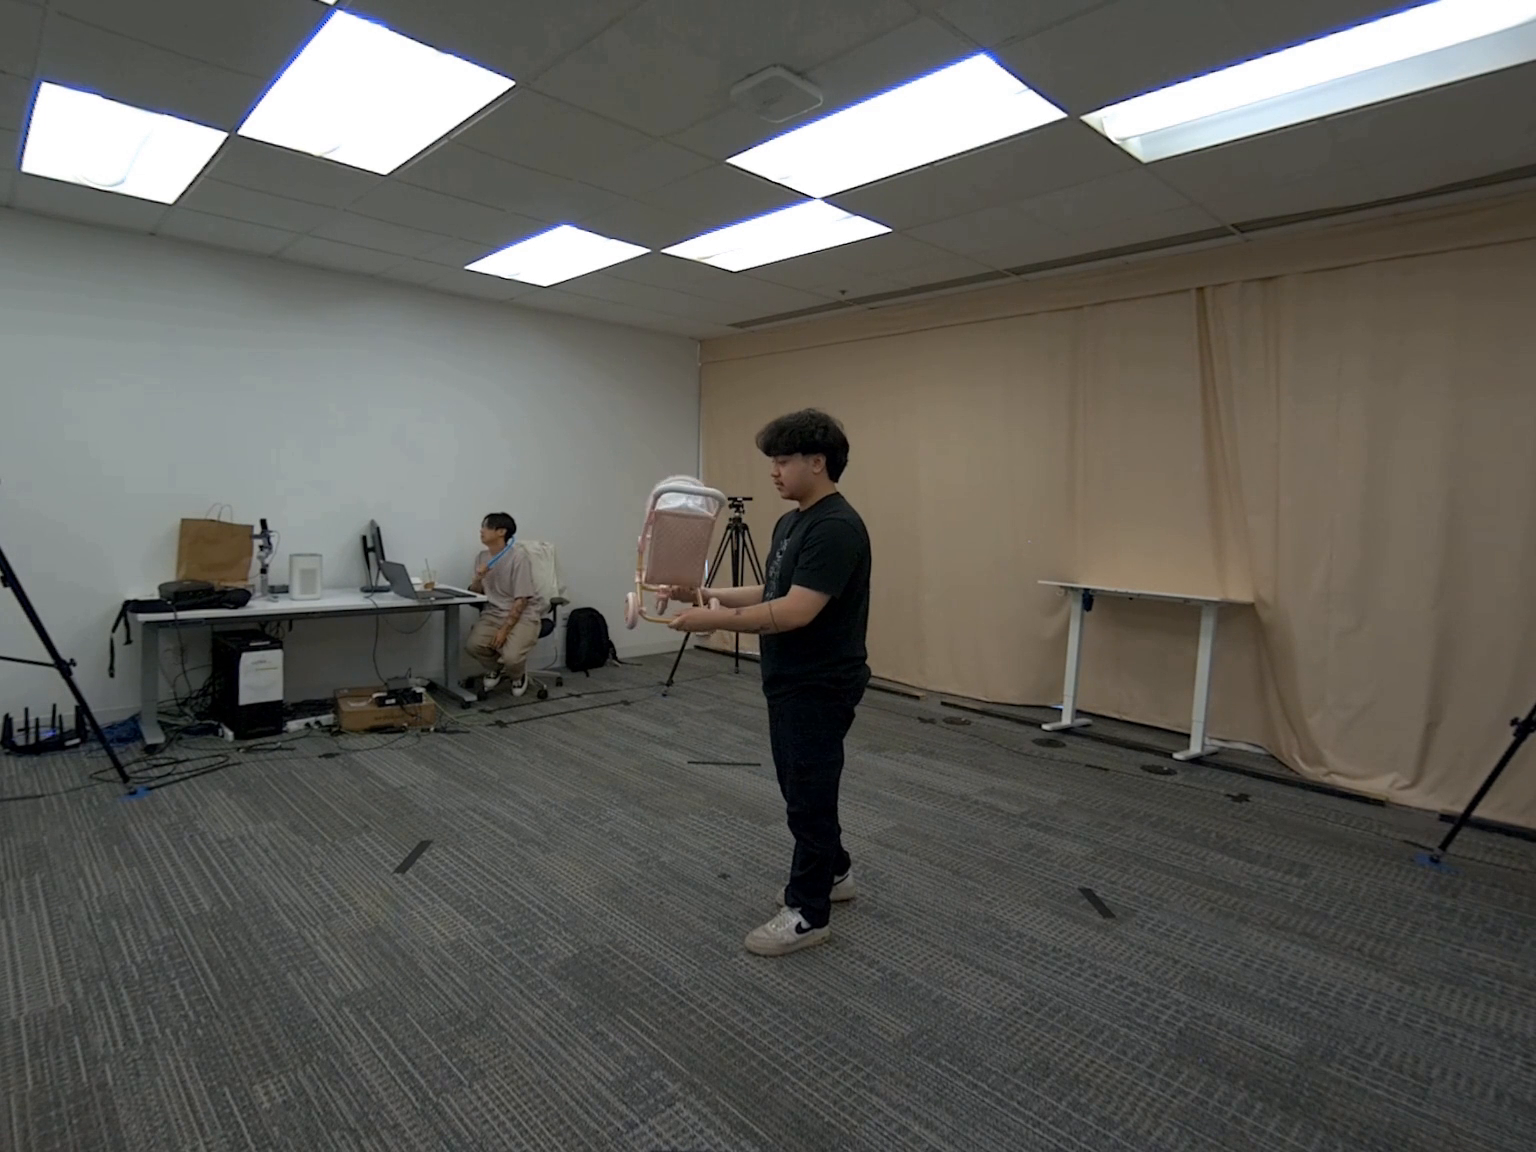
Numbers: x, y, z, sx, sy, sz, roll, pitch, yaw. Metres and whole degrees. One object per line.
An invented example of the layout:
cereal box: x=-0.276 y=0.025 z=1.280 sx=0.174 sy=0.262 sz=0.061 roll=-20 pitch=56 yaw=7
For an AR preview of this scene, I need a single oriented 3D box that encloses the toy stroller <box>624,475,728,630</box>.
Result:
toy stroller: x=-0.280 y=-0.062 z=2.584 sx=0.279 sy=0.529 sz=0.348 roll=7 pitch=21 yaw=-10
